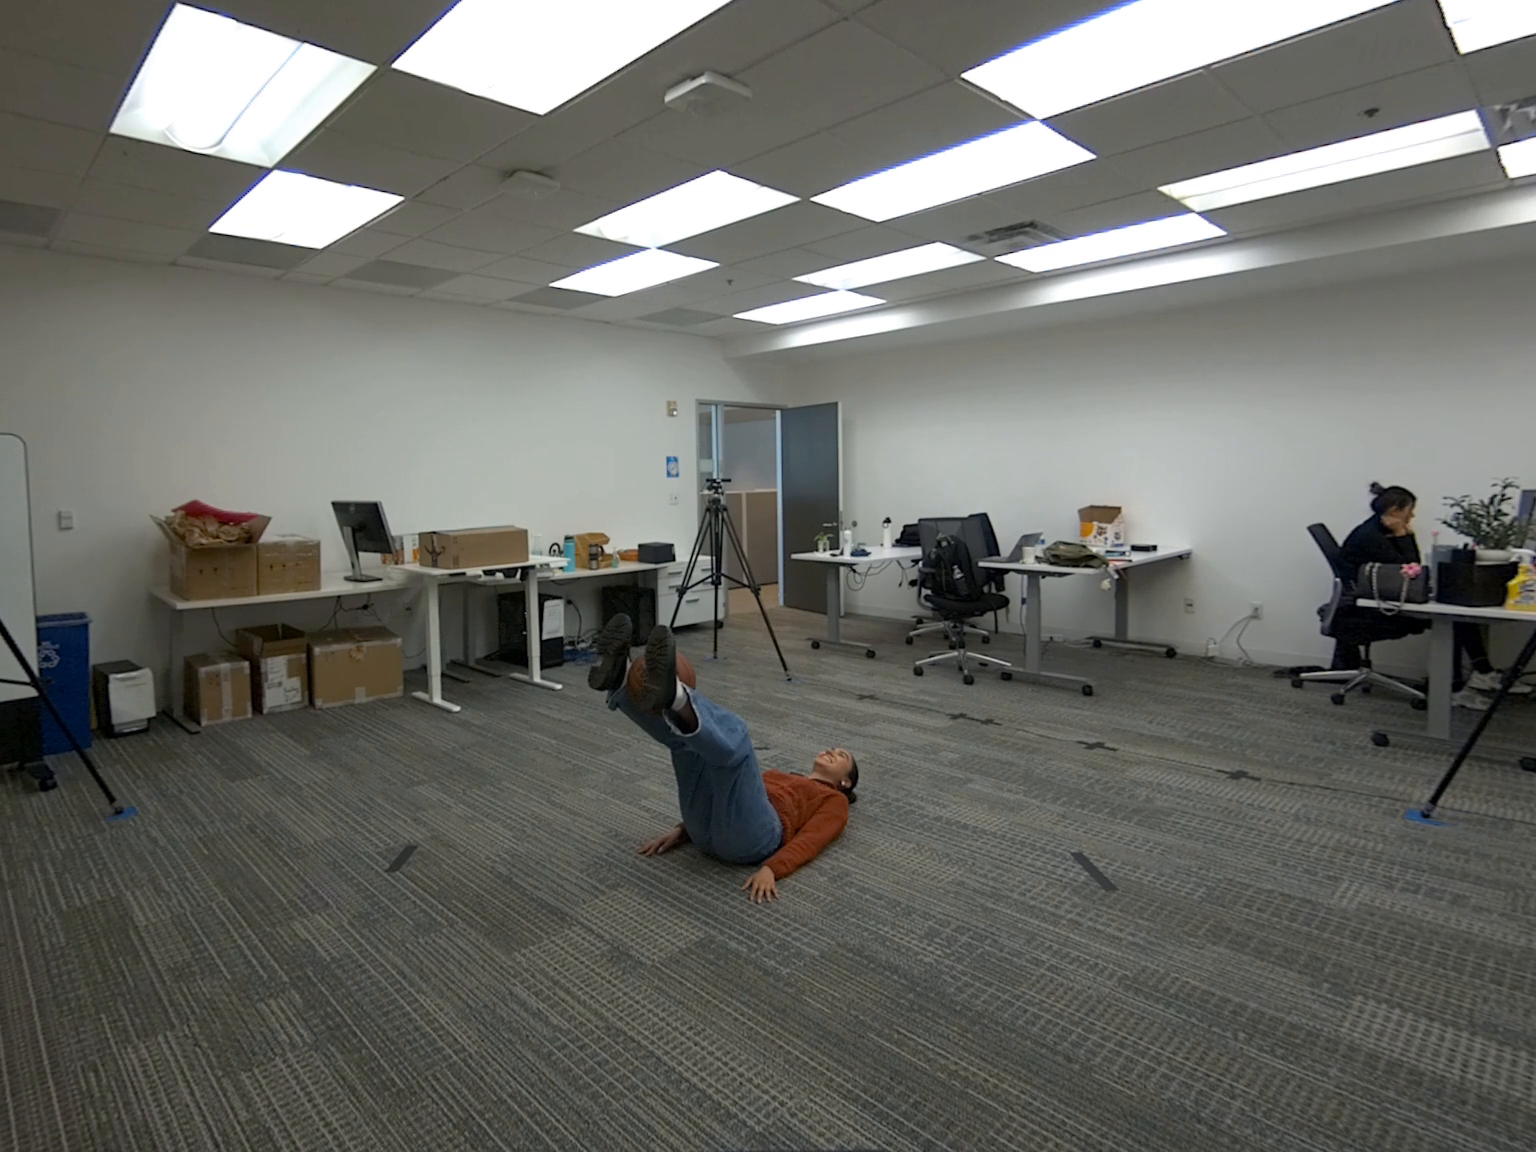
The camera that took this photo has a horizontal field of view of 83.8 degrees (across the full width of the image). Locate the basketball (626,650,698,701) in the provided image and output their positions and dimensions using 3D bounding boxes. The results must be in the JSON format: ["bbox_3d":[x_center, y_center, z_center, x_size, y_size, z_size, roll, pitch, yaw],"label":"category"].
[{"bbox_3d":[-0.364,0.365,2.898,0.236,0.235,0.237,-1,5,-2],"label":"basketball"}]
